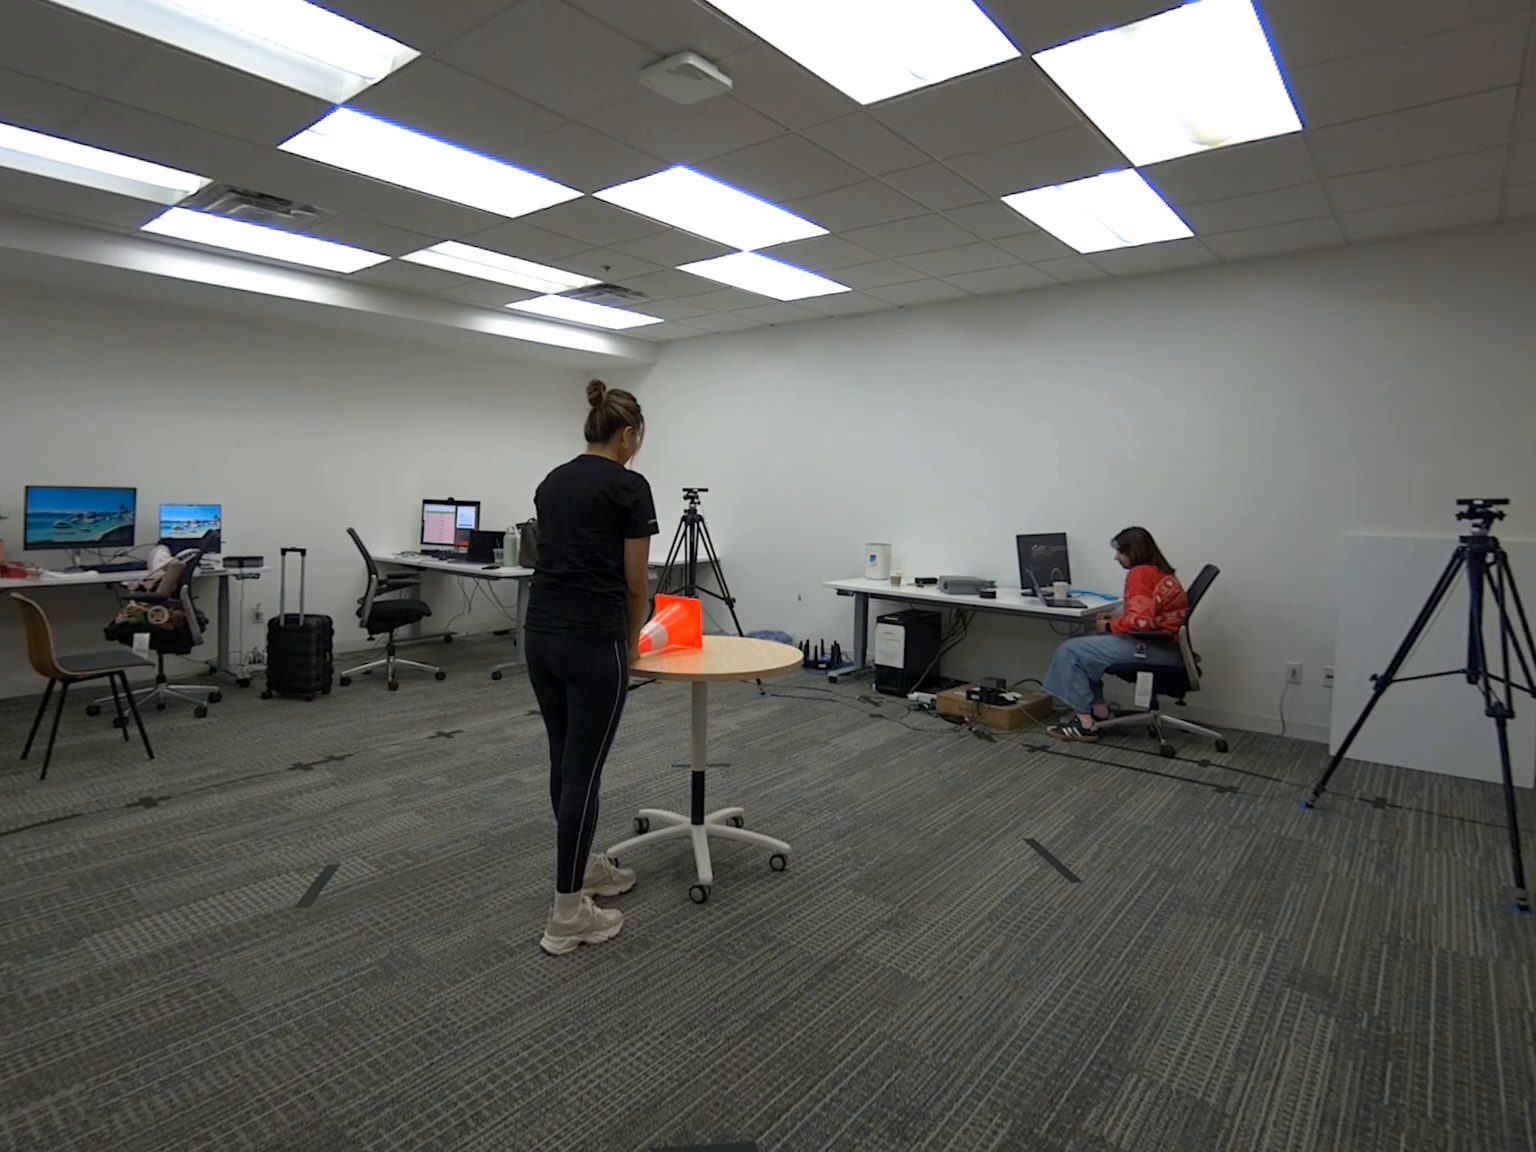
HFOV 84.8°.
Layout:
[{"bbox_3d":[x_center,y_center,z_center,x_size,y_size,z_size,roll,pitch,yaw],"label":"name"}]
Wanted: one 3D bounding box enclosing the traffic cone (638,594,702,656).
[{"bbox_3d":[-0.429,0.223,3.081,0.210,0.200,0.380,5,17,23],"label":"traffic cone"}]
